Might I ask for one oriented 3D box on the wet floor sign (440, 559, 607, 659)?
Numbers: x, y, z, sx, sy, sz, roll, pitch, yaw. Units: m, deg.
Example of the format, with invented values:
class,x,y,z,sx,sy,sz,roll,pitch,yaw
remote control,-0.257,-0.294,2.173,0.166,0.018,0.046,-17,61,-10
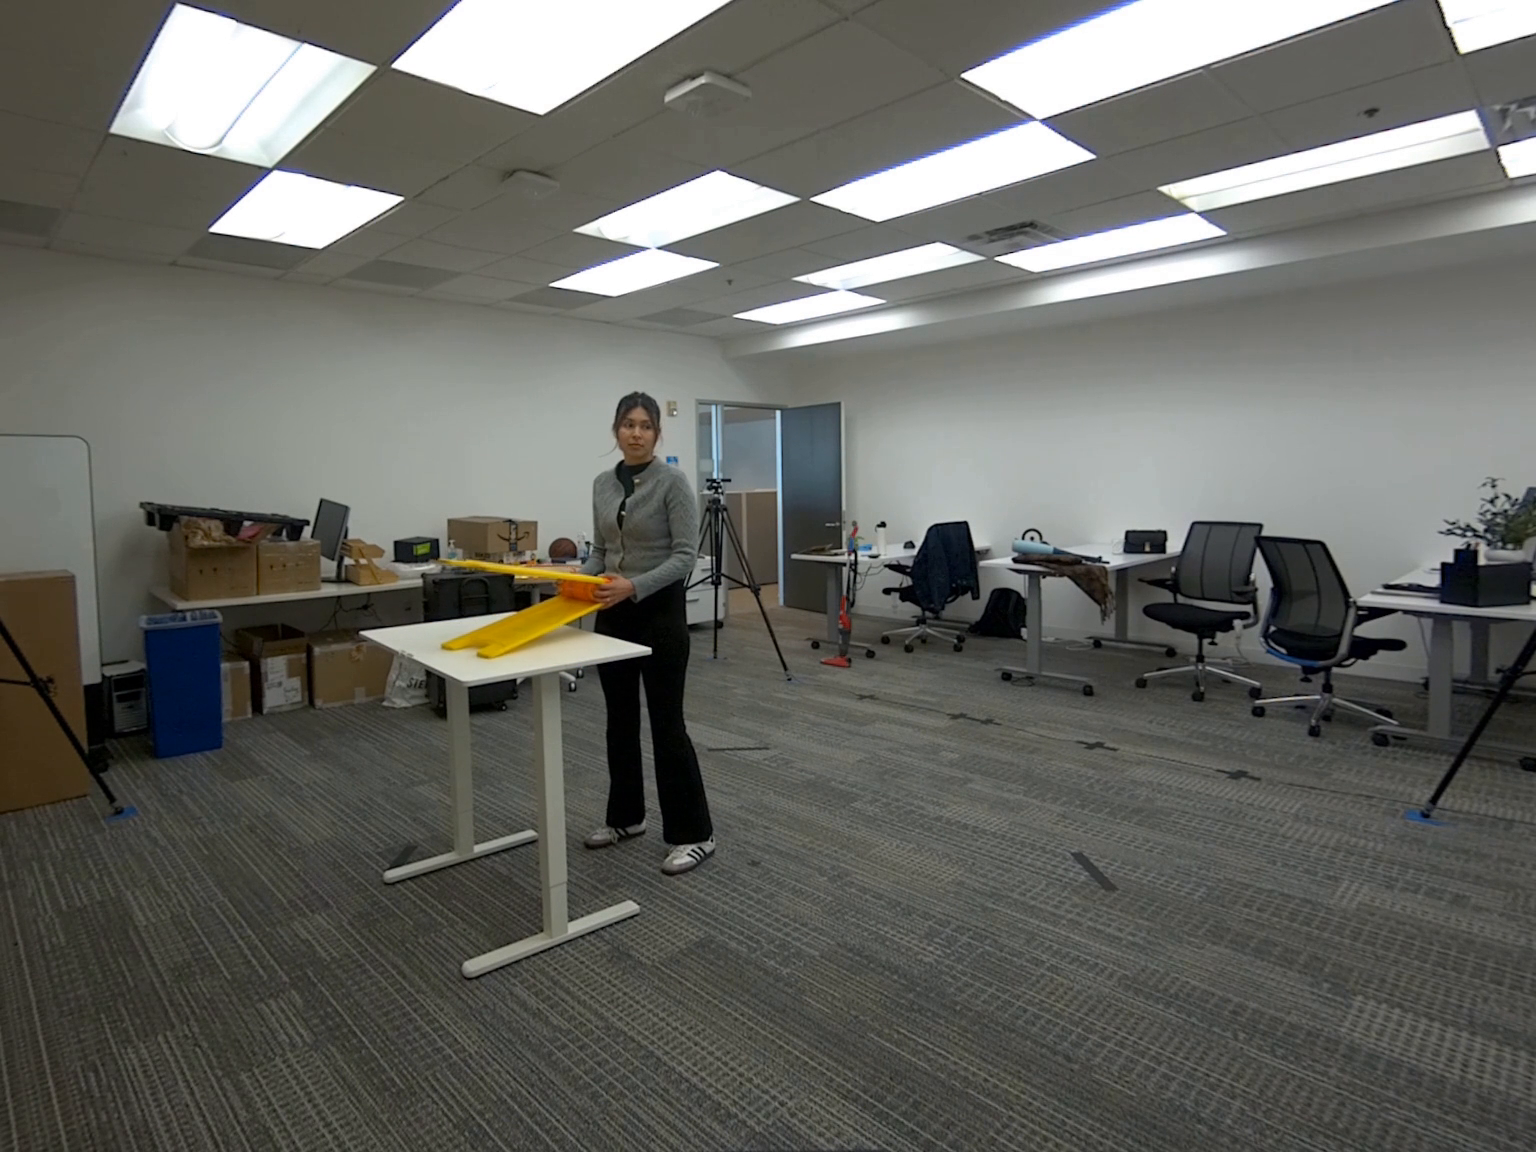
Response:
class,x,y,z,sx,sy,sz,roll,pitch,yaw
wet floor sign,-0.735,0.064,2.849,0.291,0.288,0.630,6,10,39
